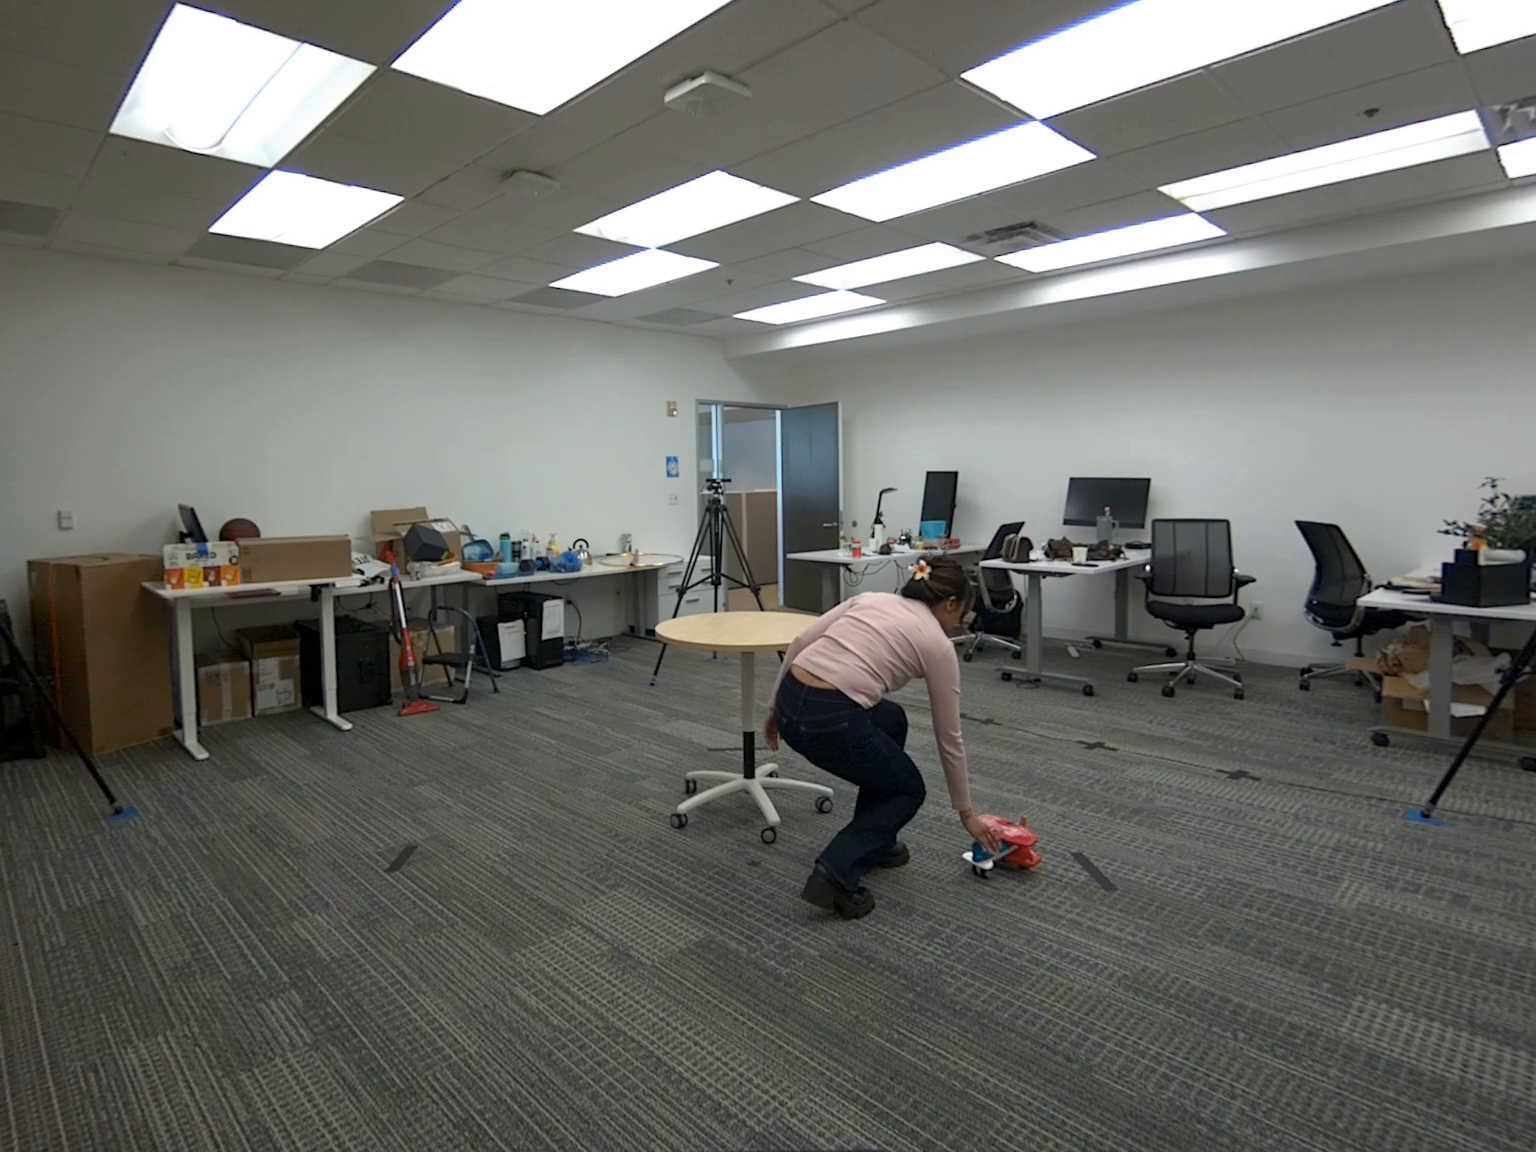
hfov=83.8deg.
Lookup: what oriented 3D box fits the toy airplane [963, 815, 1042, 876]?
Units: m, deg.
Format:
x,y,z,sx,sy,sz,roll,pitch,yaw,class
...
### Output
x,y,z,sx,sy,sz,roll,pitch,yaw,class
0.827,0.964,3.009,0.258,0.156,0.253,2,5,30,toy airplane
